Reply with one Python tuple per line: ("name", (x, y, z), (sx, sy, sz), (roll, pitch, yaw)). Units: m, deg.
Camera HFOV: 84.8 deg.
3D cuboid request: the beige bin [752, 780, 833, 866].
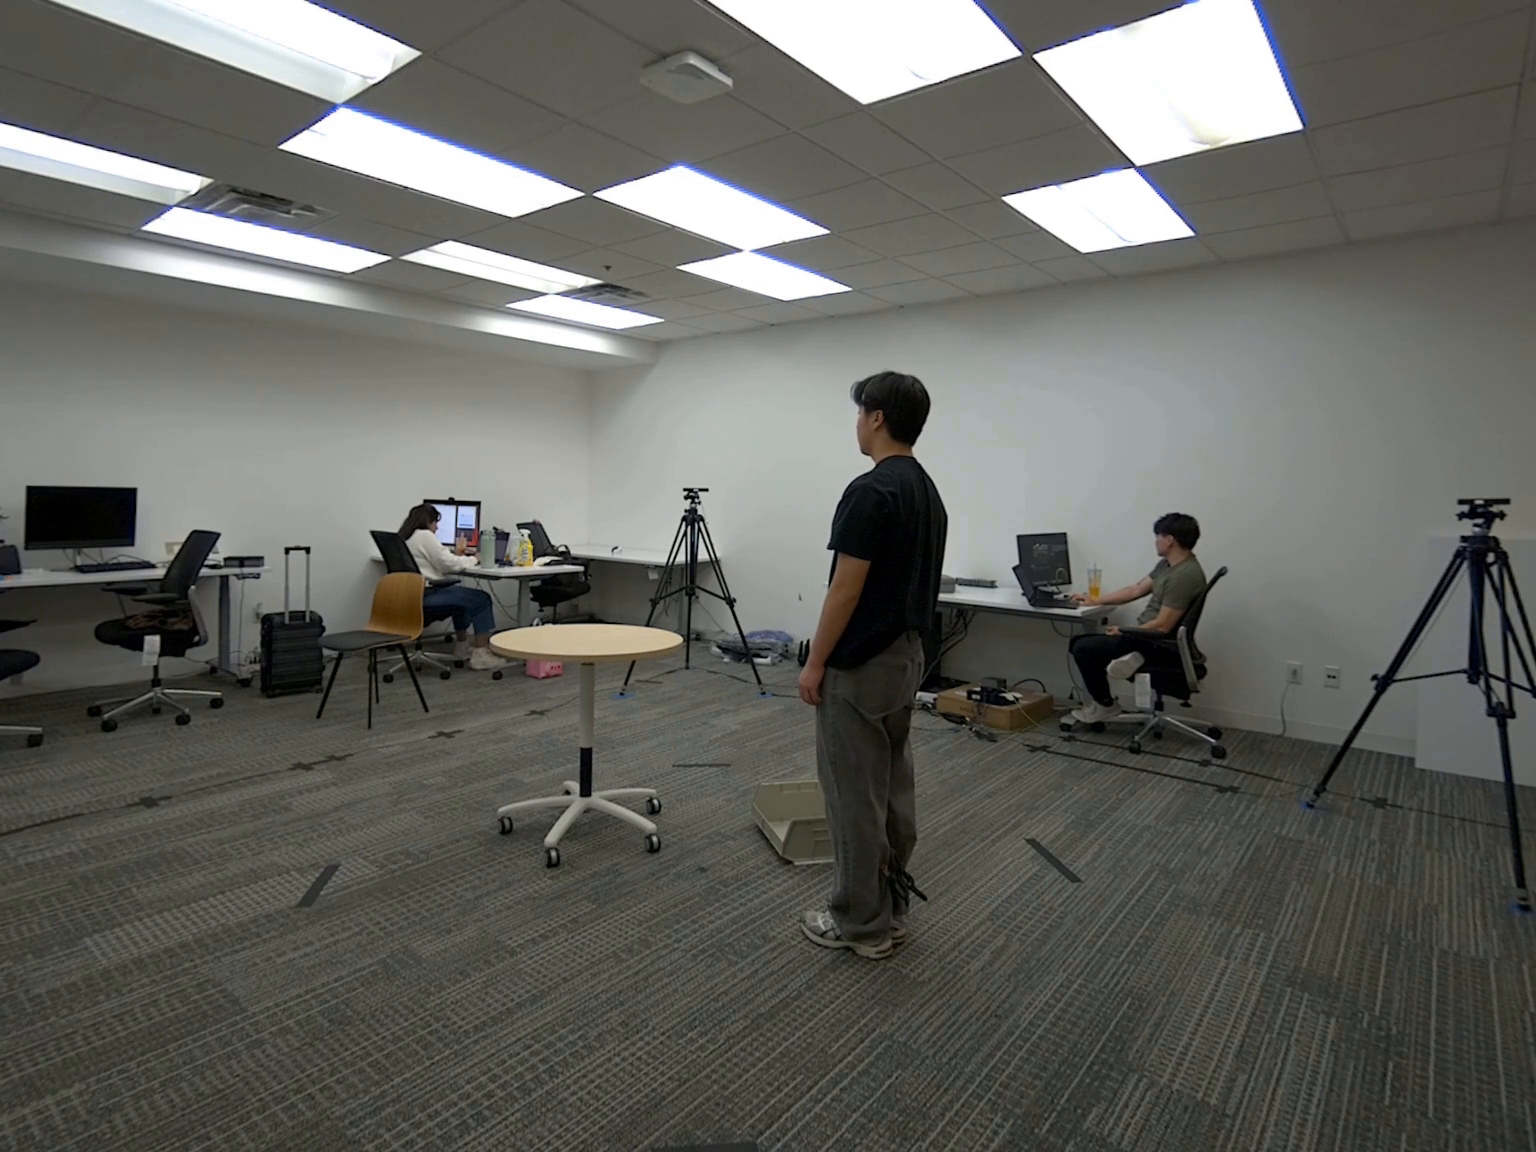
("beige bin", (0.157, 0.965, 3.385), (0.371, 0.188, 0.431), (1, 4, -17))
